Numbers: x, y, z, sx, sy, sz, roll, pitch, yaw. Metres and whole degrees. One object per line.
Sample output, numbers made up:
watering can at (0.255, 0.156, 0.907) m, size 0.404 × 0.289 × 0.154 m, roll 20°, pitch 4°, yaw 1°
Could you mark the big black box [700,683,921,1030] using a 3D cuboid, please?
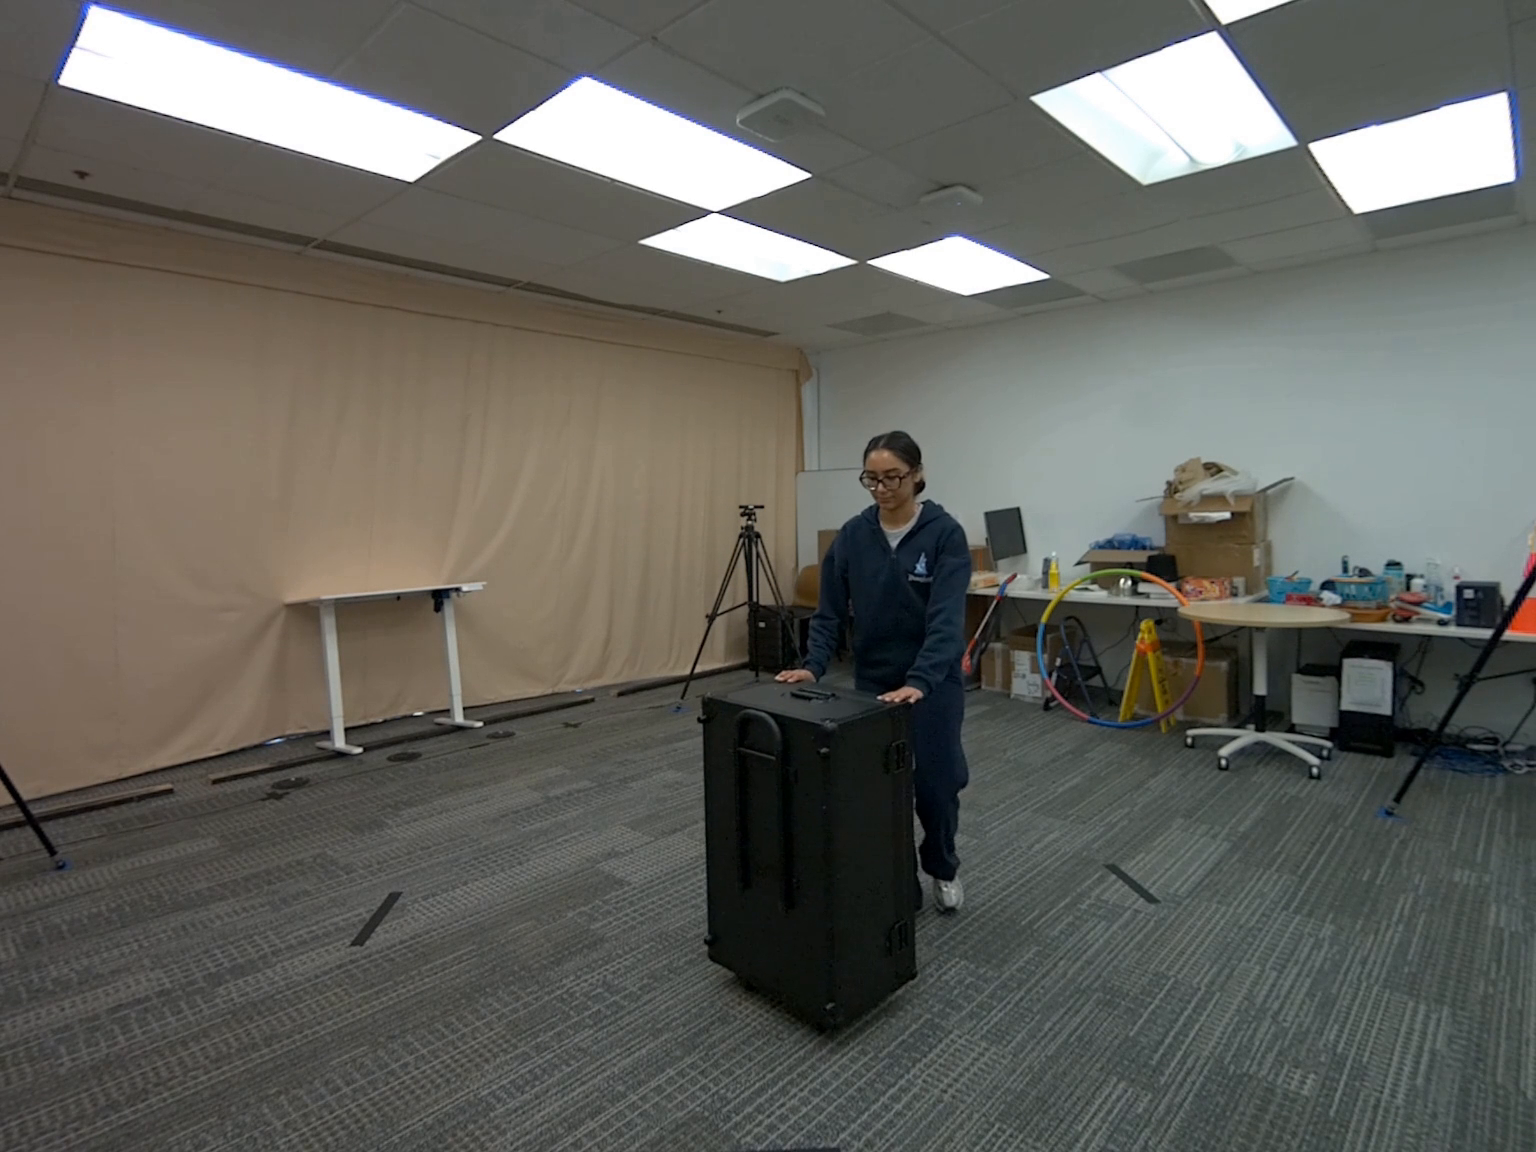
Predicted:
big black box at (0.112, 0.768, 2.372) m, size 0.384 × 0.859 × 0.538 m, roll -6°, pitch 6°, yaw -43°
